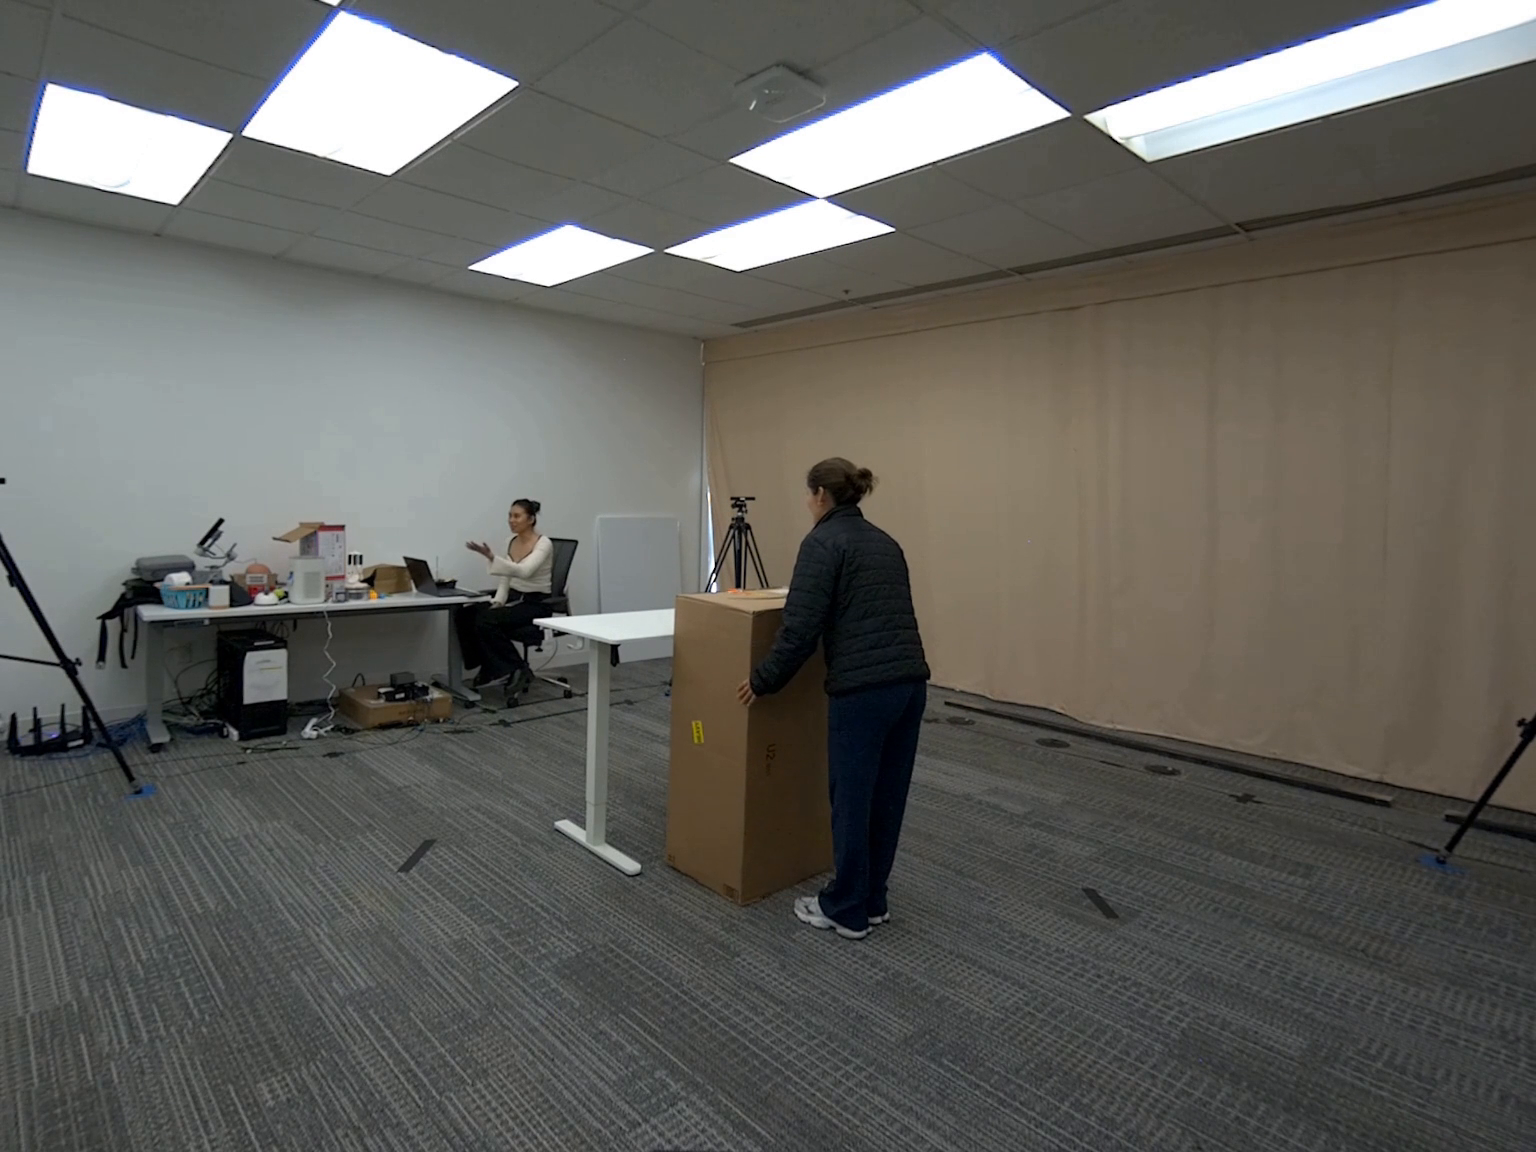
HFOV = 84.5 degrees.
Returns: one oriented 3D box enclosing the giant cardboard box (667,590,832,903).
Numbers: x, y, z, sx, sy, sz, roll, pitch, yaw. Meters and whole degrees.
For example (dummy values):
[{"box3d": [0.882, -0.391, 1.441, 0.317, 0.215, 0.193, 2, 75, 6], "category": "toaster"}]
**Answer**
[{"box3d": [-0.017, 0.587, 3.163, 0.570, 1.024, 0.458, -2, 5, -42], "category": "giant cardboard box"}]
